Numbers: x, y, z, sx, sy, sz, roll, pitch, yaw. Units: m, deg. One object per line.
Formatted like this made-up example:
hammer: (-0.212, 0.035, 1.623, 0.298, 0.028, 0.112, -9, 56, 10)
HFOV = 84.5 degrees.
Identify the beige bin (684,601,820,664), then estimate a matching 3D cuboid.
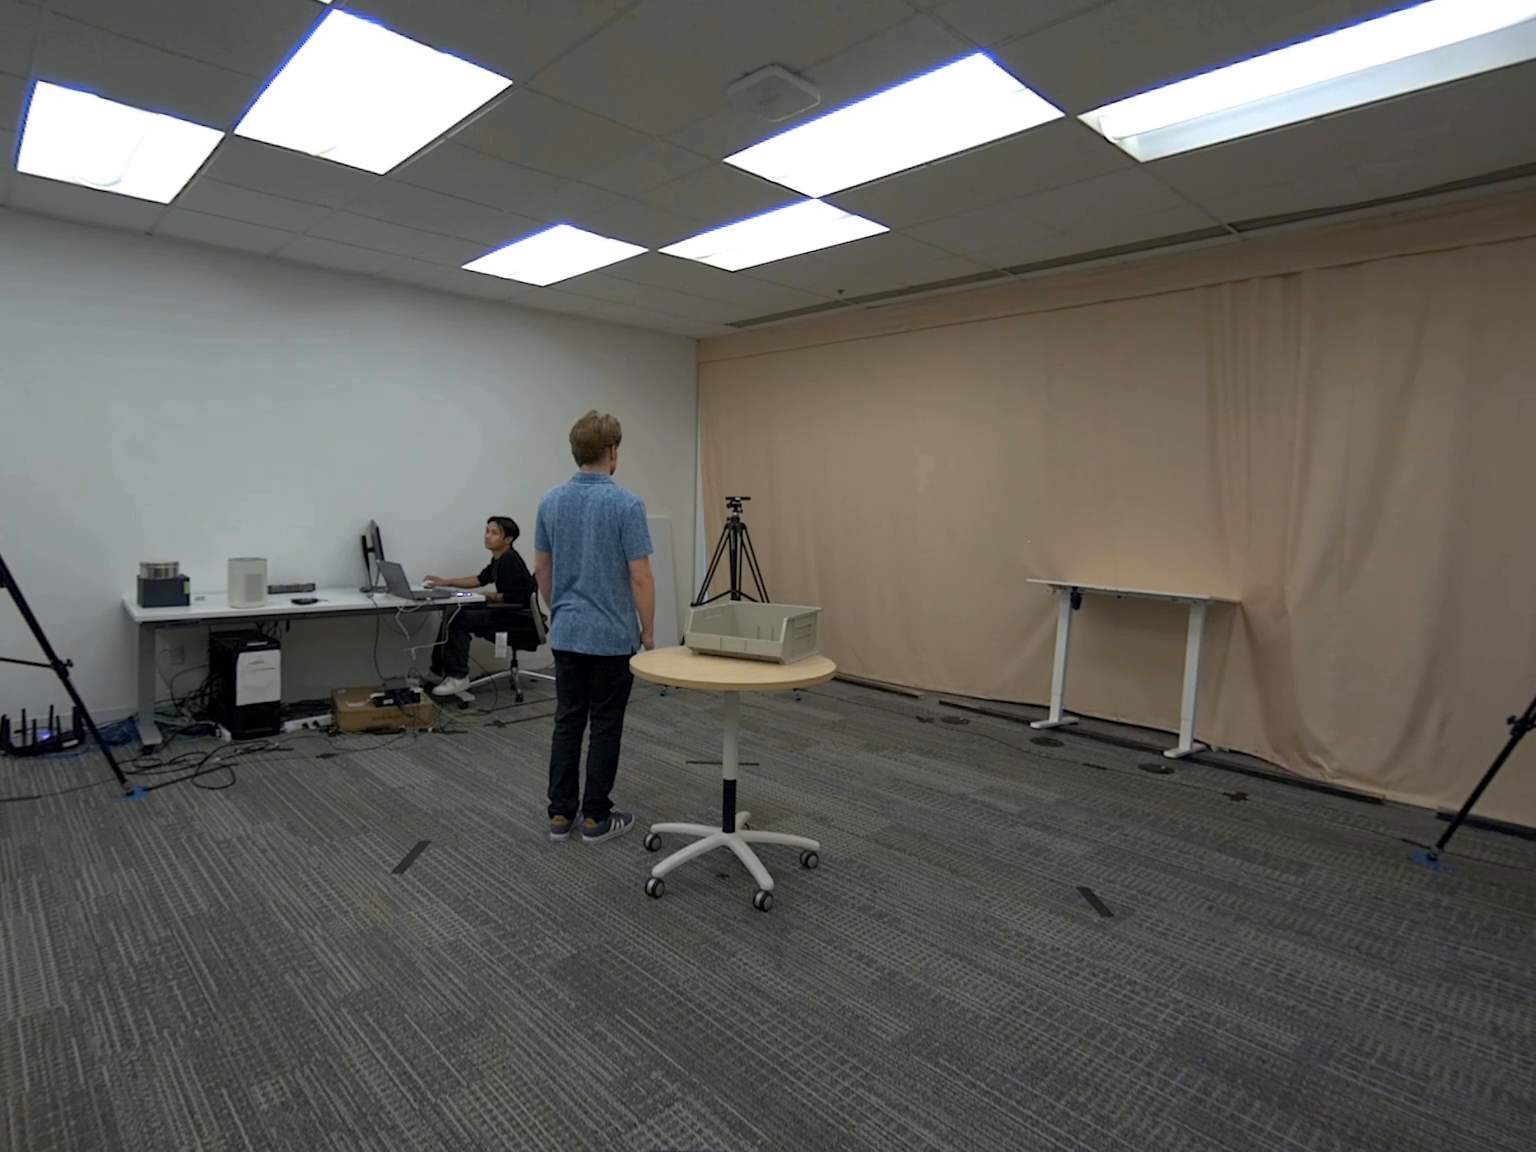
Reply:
beige bin: (-0.061, 0.218, 3.304, 0.431, 0.189, 0.370, 3, 3, 27)
